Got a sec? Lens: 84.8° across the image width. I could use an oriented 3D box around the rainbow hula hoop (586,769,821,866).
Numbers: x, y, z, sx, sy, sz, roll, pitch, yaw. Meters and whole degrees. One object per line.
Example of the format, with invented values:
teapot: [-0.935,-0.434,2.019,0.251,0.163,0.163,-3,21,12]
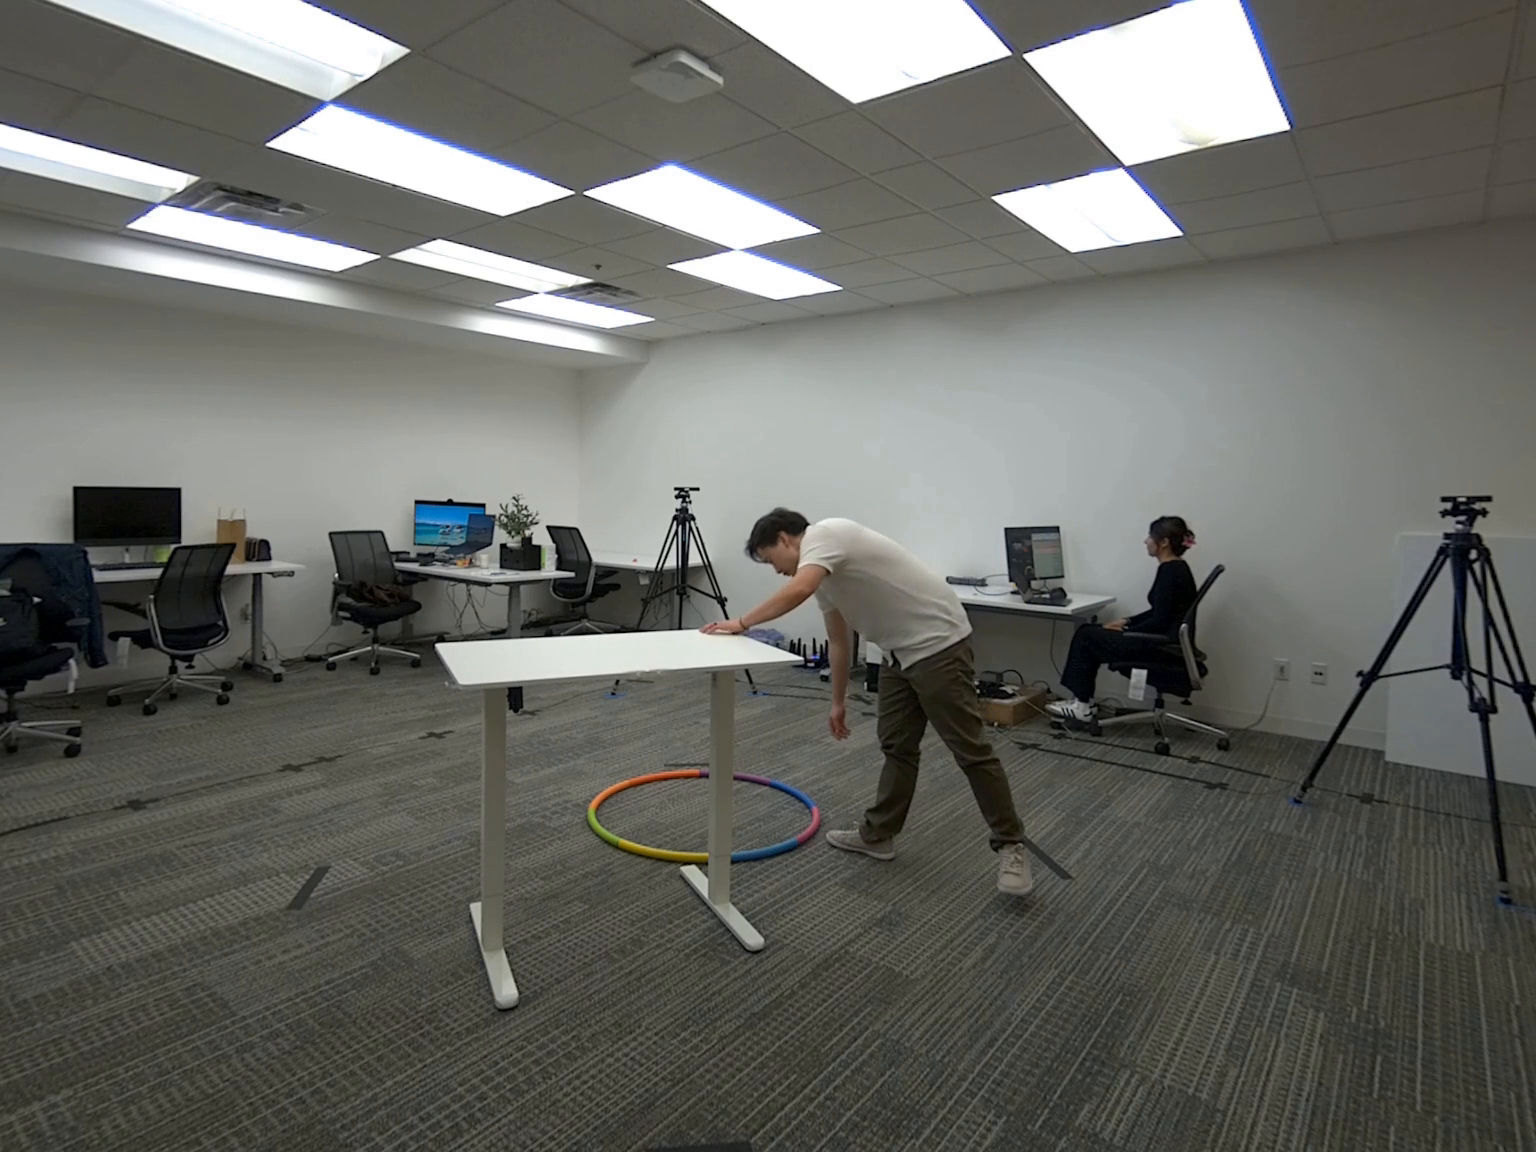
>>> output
rainbow hula hoop: [-0.284,0.983,3.621,0.978,0.035,0.984,0,6,-2]
